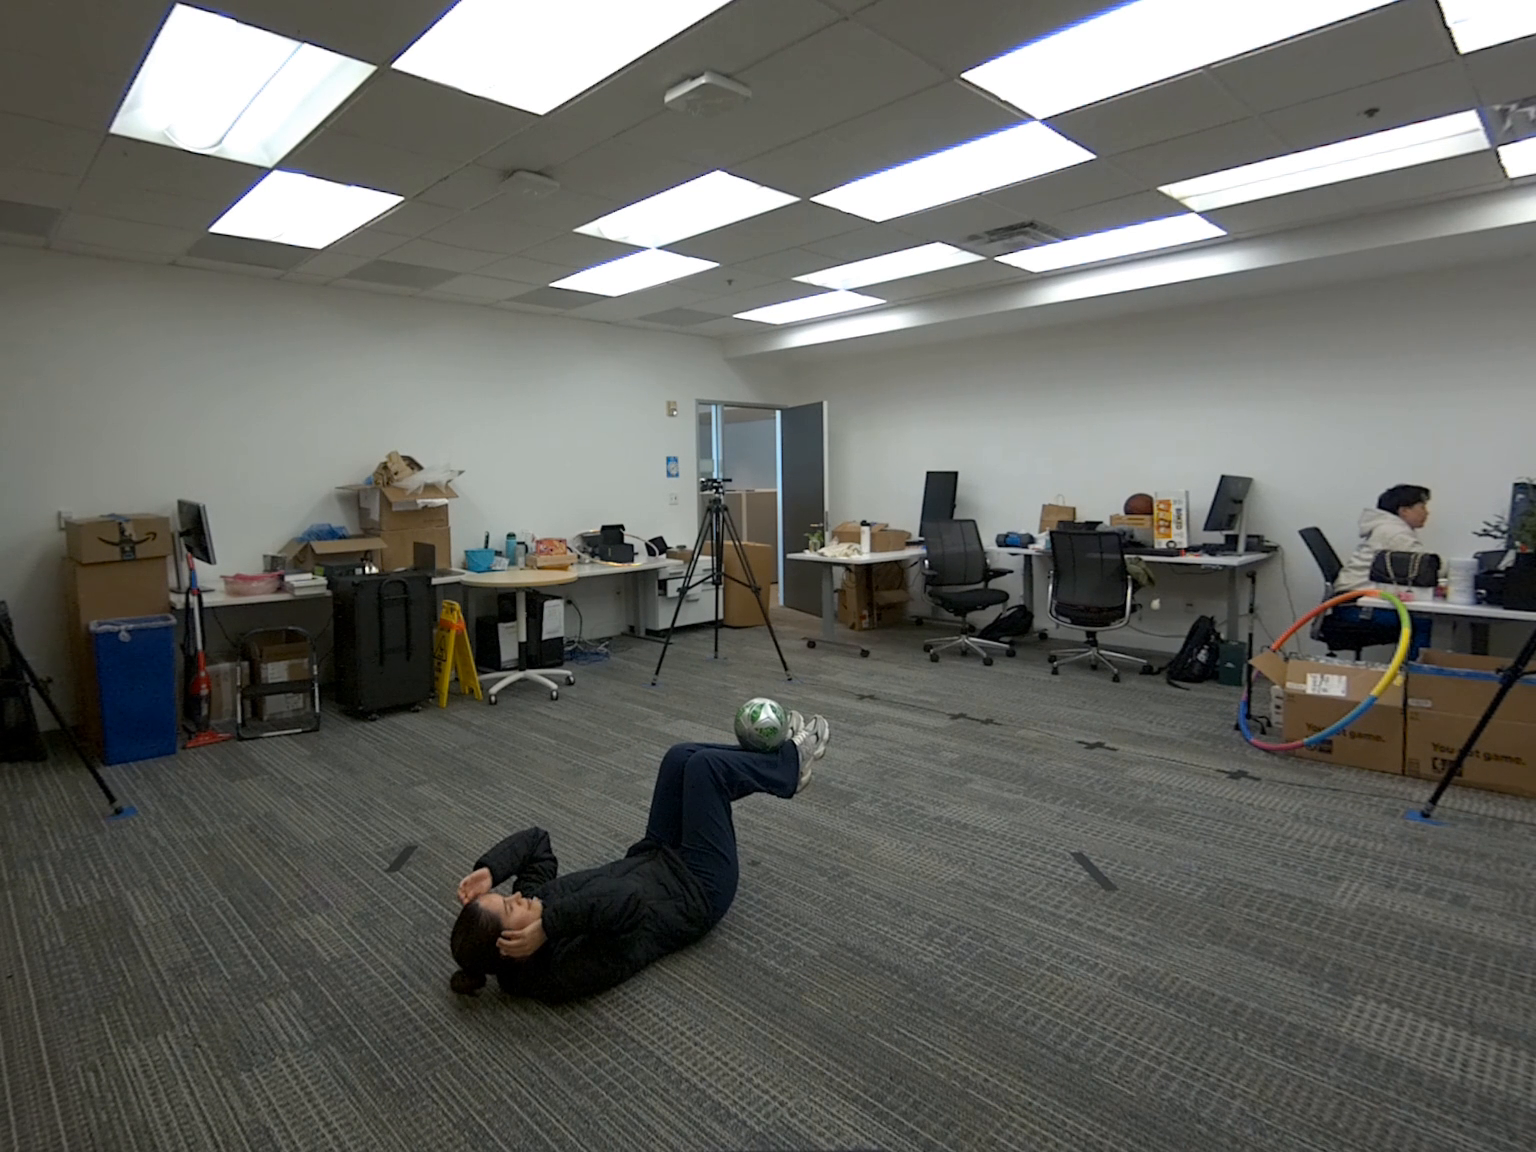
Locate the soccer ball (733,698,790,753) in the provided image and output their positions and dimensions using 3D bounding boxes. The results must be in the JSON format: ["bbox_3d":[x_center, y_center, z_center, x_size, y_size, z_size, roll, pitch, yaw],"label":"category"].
[{"bbox_3d":[-0.017,0.508,2.898,0.187,0.187,0.188,0,1,-2],"label":"soccer ball"}]
